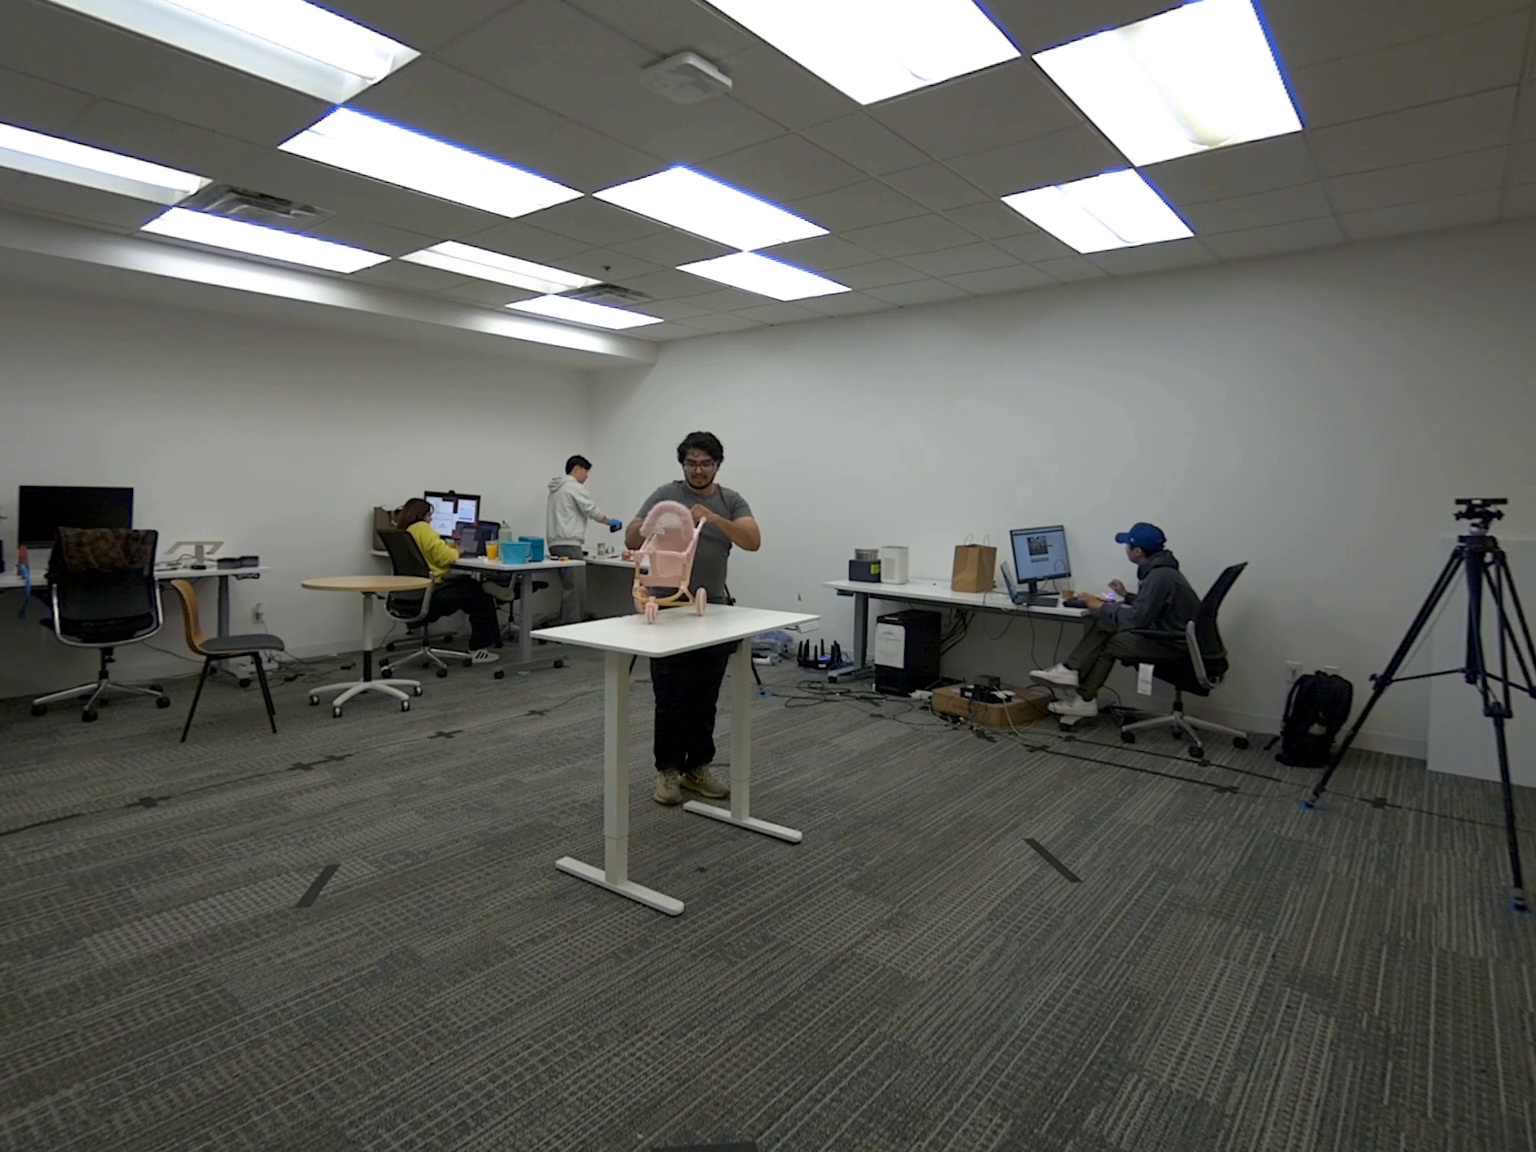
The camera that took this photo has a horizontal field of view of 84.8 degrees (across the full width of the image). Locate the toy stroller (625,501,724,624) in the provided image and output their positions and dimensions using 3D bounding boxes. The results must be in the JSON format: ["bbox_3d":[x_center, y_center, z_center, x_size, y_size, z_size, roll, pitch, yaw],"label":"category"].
[{"bbox_3d":[-0.415,-0.063,3.358,0.286,0.541,0.331,1,-14,15],"label":"toy stroller"}]
